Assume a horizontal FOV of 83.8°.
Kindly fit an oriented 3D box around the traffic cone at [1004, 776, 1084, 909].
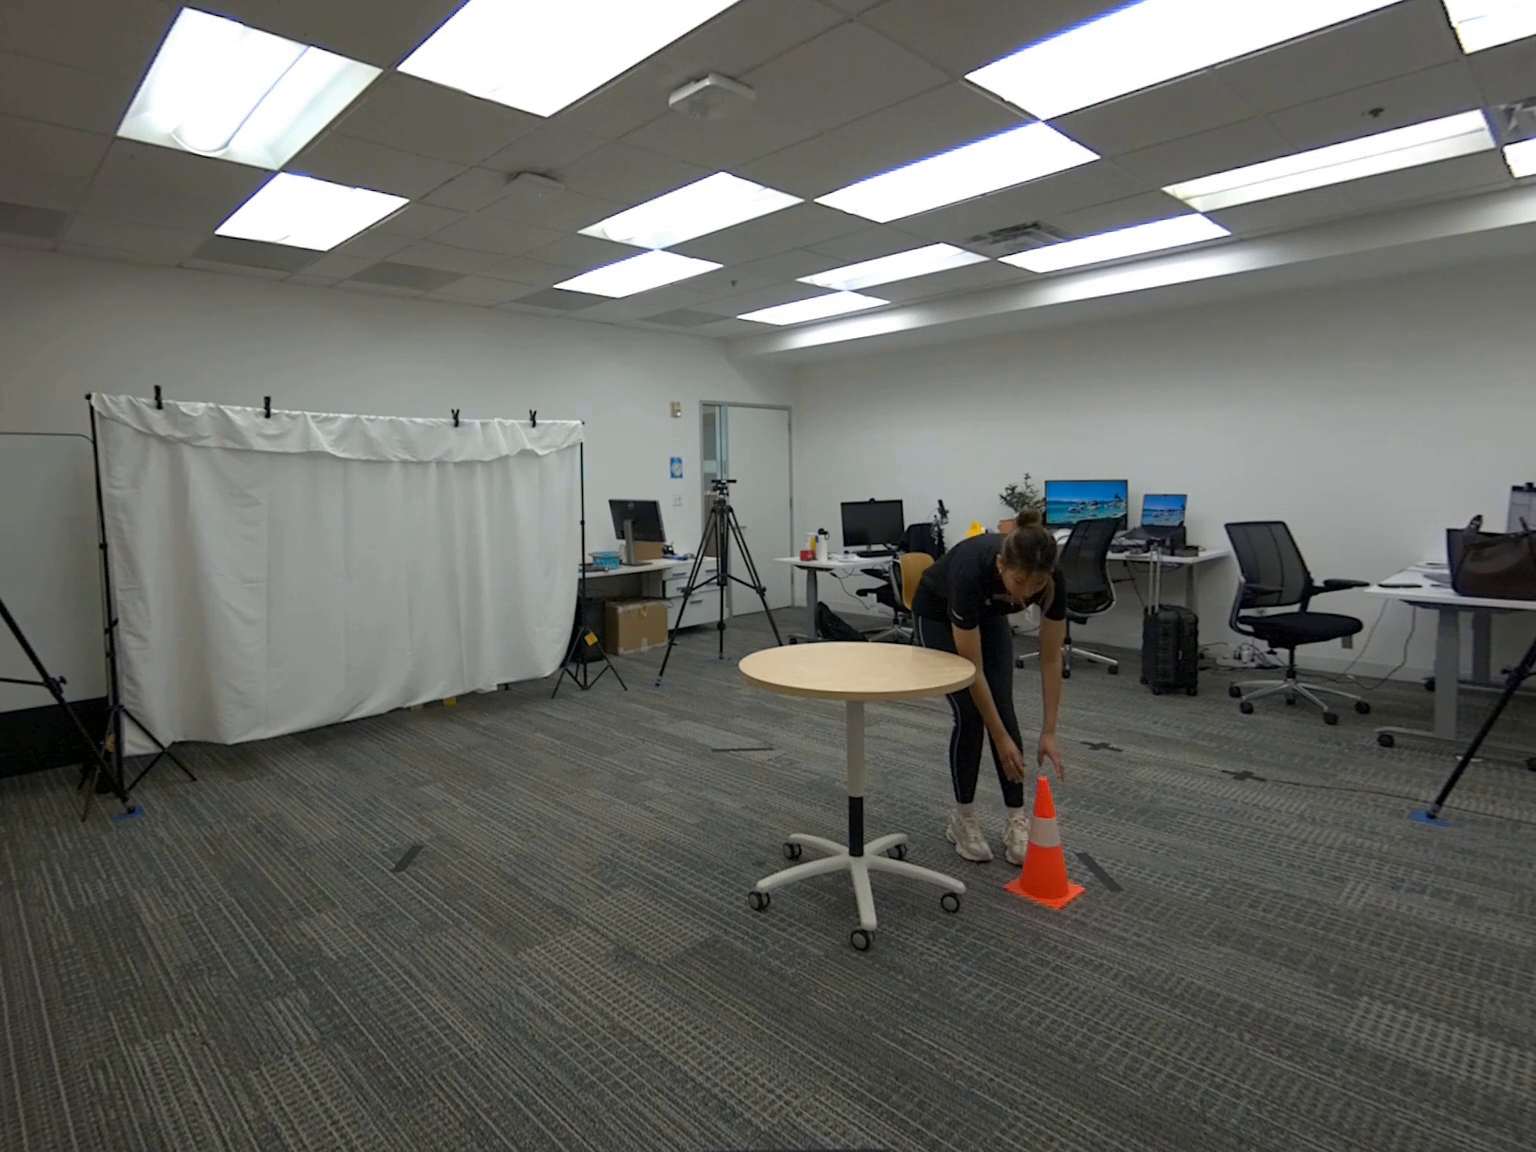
[{"bbox_3d":[0.952,0.882,2.857,0.199,0.382,0.210,-3,6,-39],"label":"traffic cone"}]
